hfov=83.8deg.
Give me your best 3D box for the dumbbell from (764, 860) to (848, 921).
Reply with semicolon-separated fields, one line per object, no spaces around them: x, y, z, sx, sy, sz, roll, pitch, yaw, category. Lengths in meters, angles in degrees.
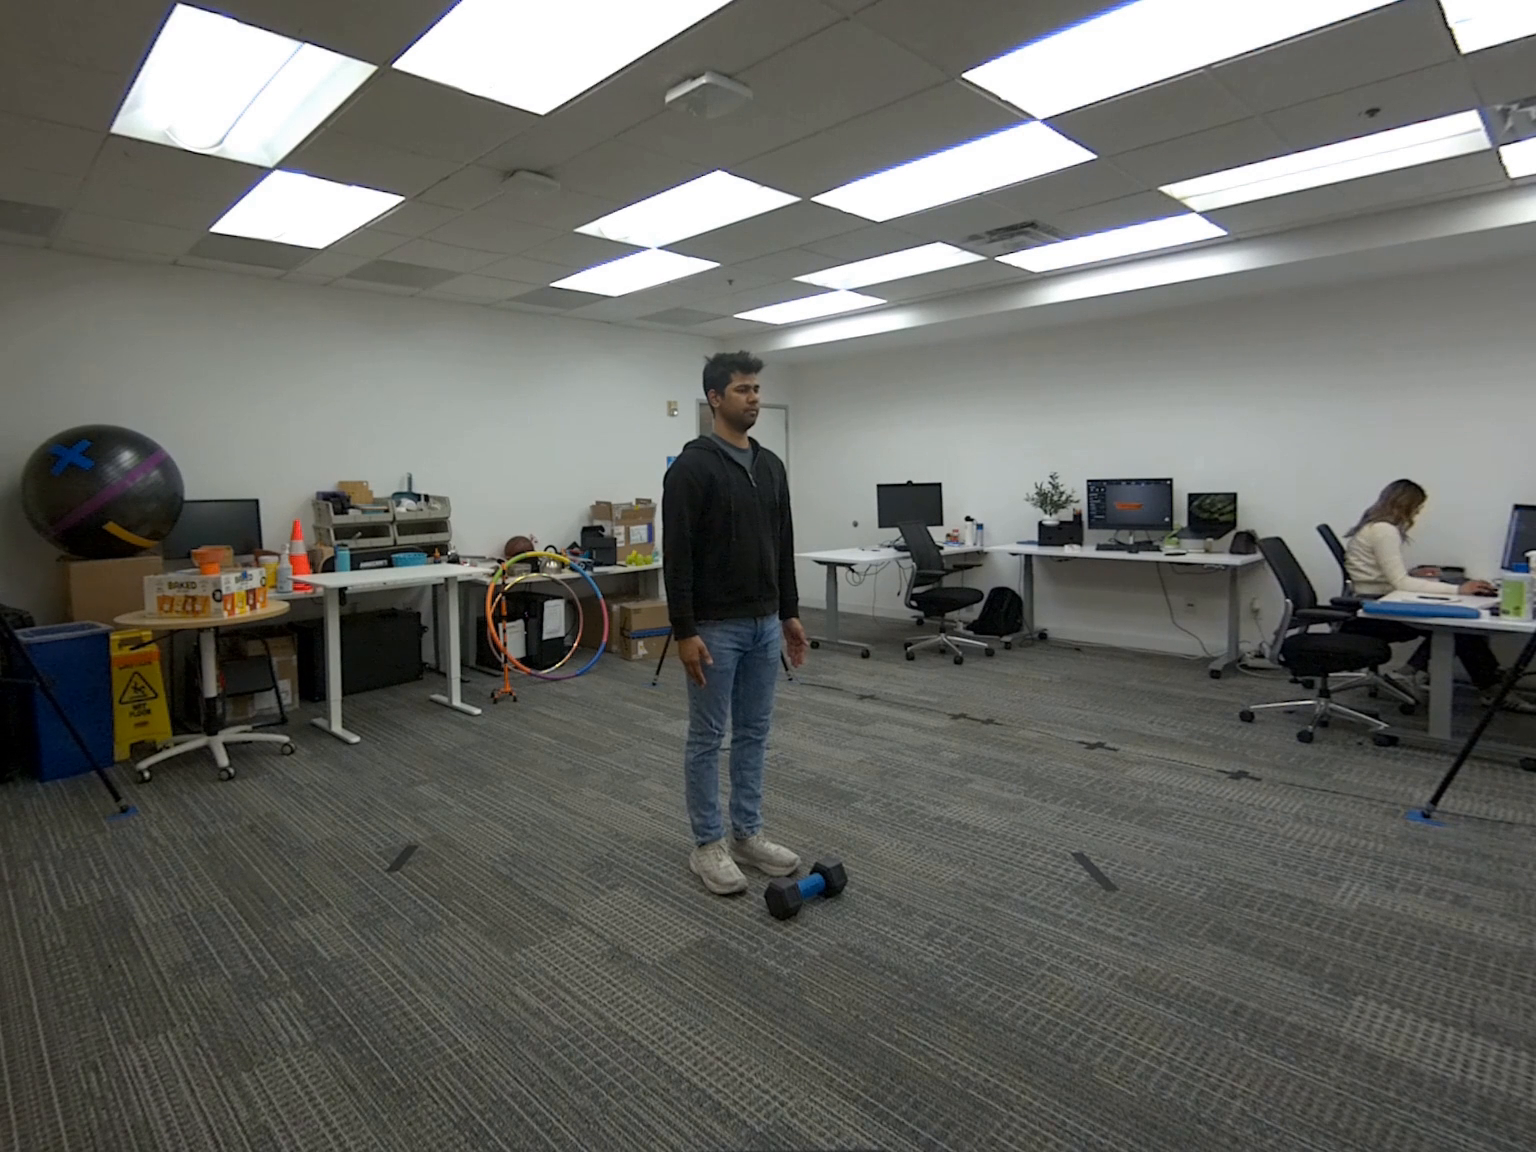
0.134;1.022;2.801;0.286;0.121;0.113;-7;38;-41;dumbbell
